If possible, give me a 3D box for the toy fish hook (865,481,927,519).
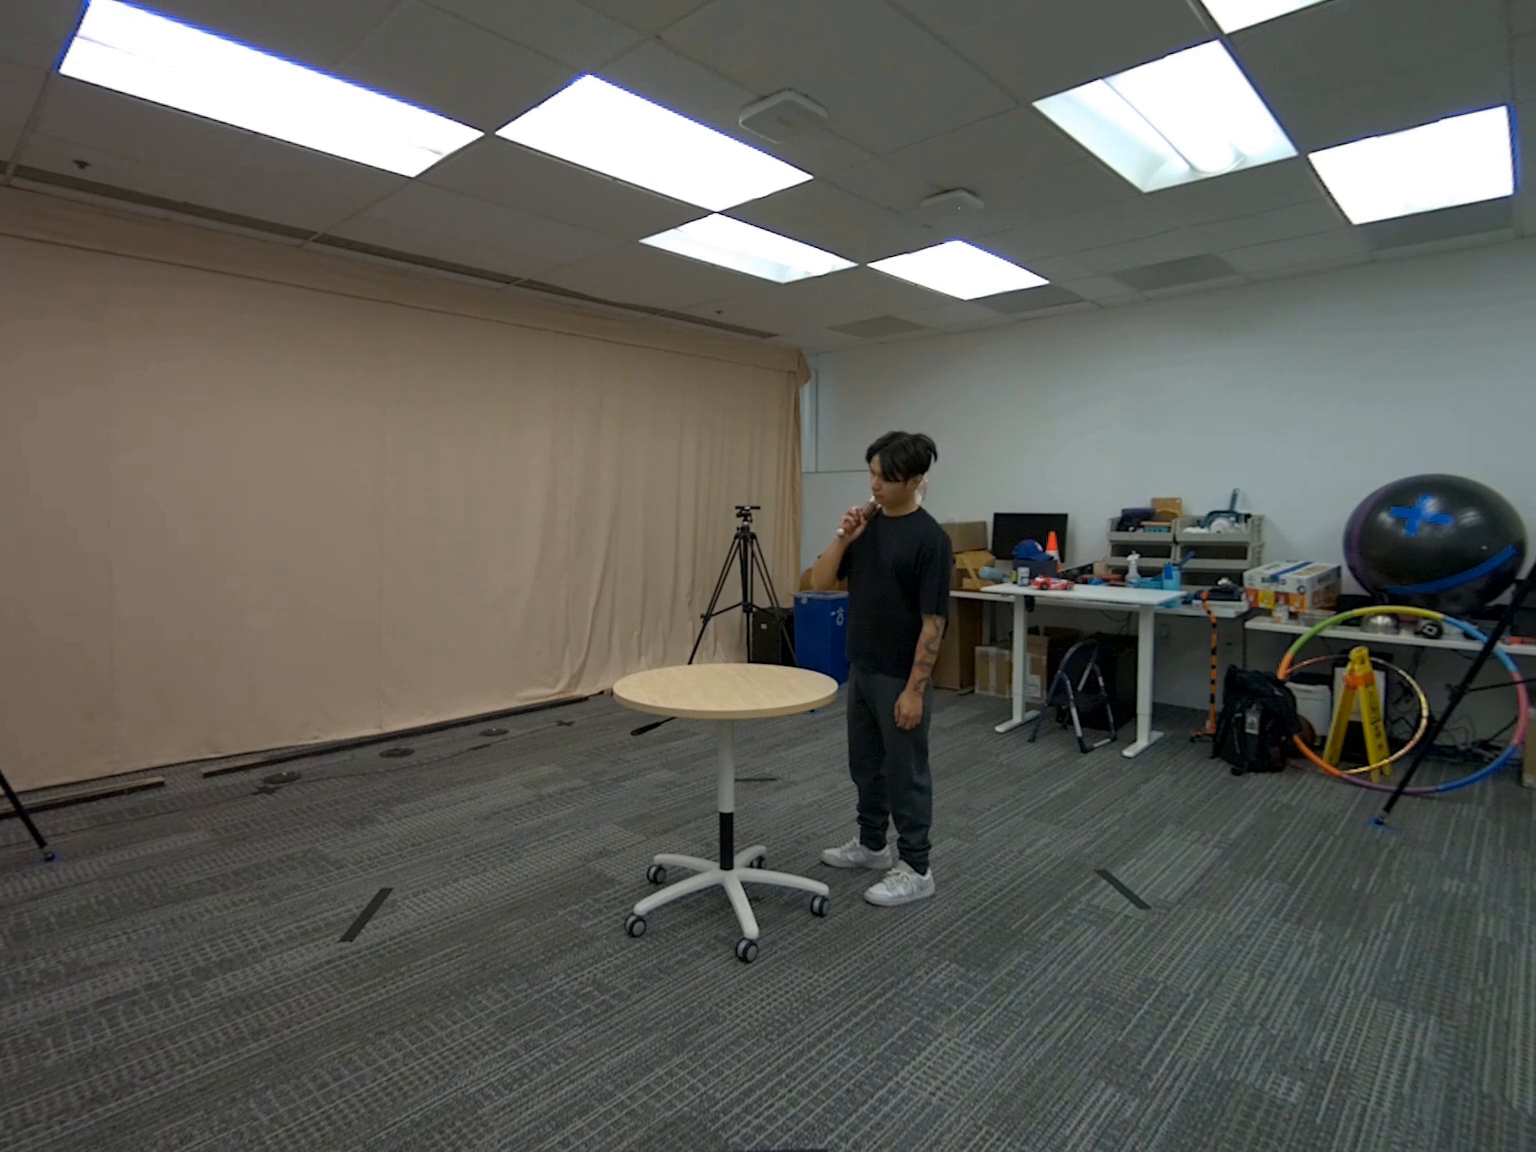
[{"bbox_3d":[0.434,-0.255,3.067,0.502,0.221,0.049,-44,17,-28],"label":"toy fish hook"}]
